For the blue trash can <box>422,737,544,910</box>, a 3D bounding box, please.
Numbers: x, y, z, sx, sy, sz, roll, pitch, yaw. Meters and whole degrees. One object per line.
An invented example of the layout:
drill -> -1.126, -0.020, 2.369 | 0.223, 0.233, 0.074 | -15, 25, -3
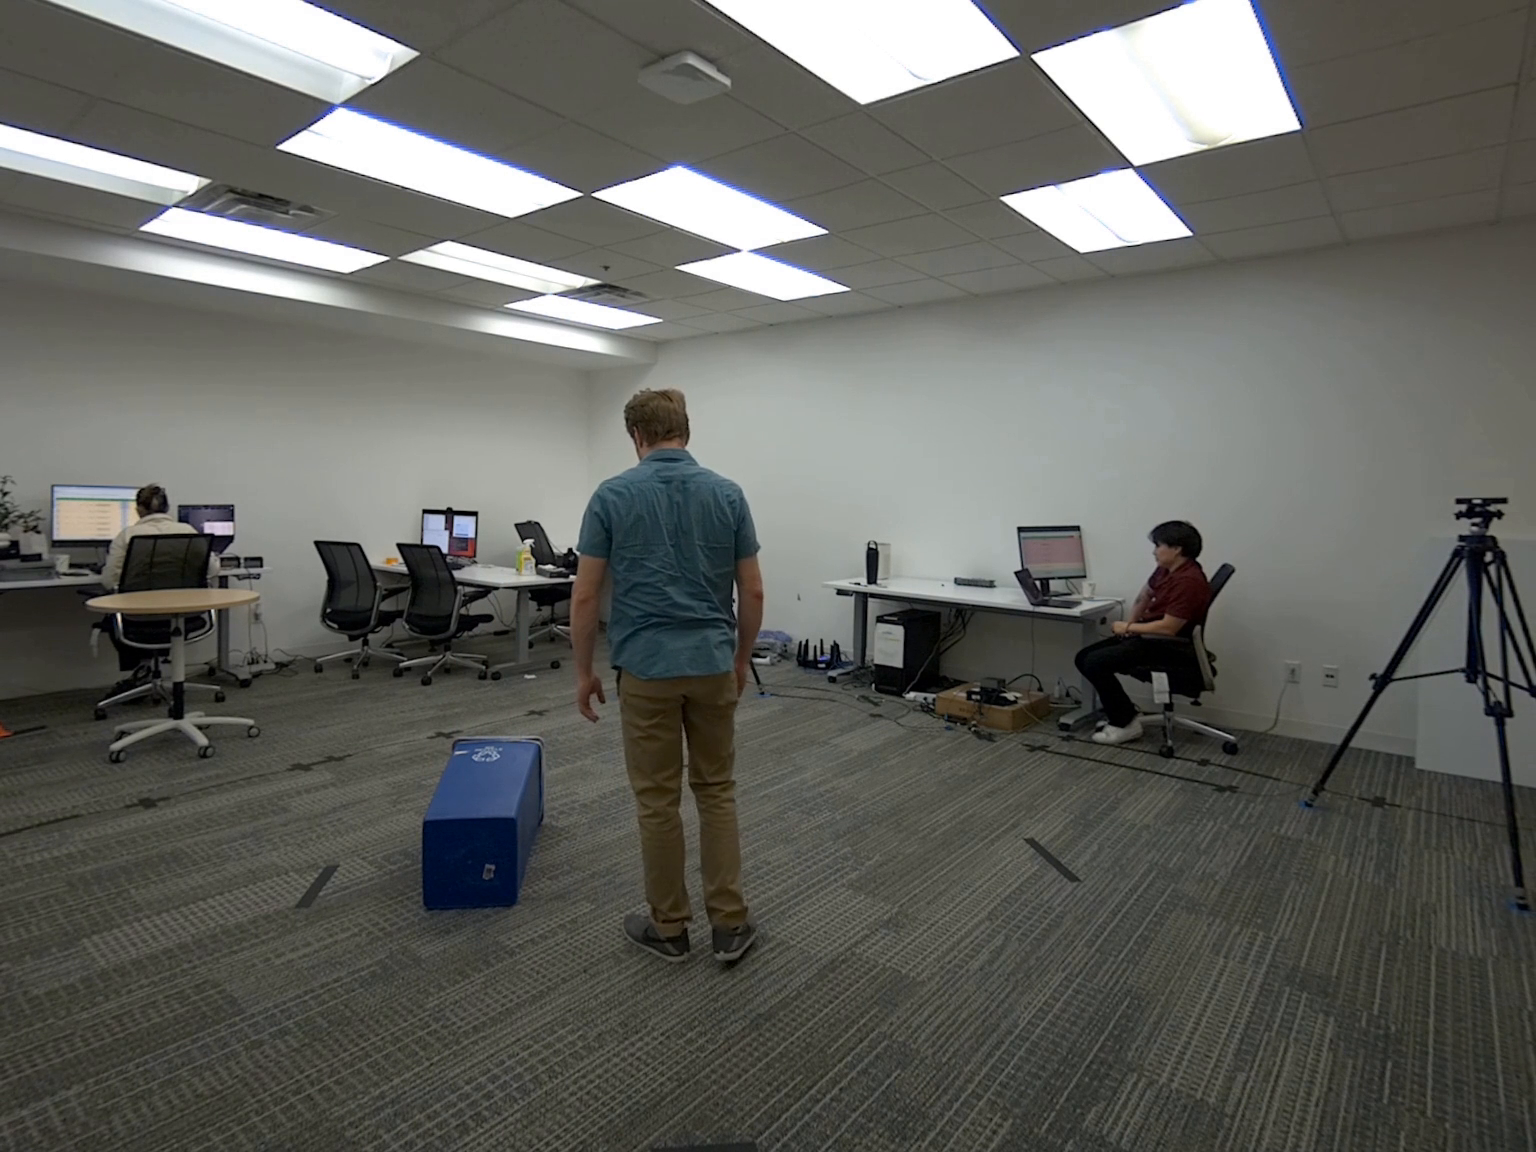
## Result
blue trash can -> -1.047, 0.889, 3.129 | 0.370, 0.376, 0.725 | 0, 8, -10
